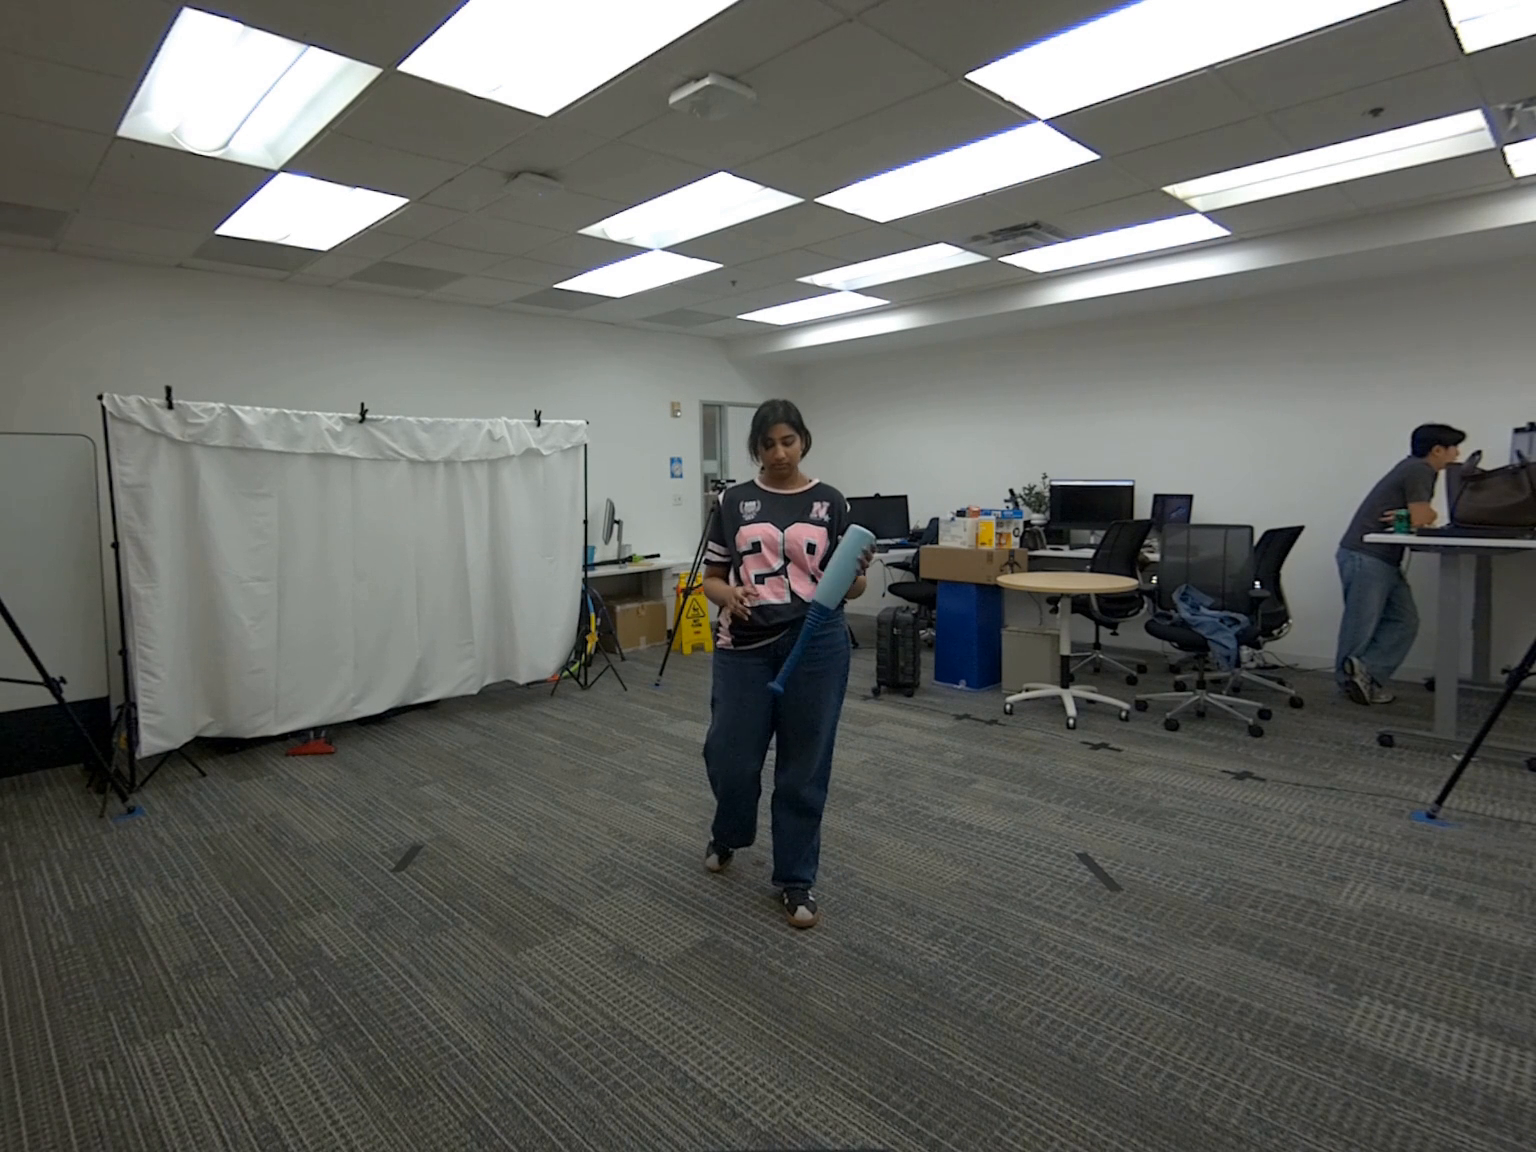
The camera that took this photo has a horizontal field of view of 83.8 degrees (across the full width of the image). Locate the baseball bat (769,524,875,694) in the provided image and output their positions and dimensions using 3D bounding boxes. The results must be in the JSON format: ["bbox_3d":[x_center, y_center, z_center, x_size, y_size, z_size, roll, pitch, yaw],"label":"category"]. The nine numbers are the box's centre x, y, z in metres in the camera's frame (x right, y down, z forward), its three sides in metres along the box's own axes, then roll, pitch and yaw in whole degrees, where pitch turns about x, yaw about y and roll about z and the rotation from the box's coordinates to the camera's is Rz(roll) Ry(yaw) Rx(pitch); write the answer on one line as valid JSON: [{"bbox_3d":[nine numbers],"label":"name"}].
[{"bbox_3d":[0.141,0.109,2.489,0.089,0.543,0.089,27,-1,-2],"label":"baseball bat"}]
